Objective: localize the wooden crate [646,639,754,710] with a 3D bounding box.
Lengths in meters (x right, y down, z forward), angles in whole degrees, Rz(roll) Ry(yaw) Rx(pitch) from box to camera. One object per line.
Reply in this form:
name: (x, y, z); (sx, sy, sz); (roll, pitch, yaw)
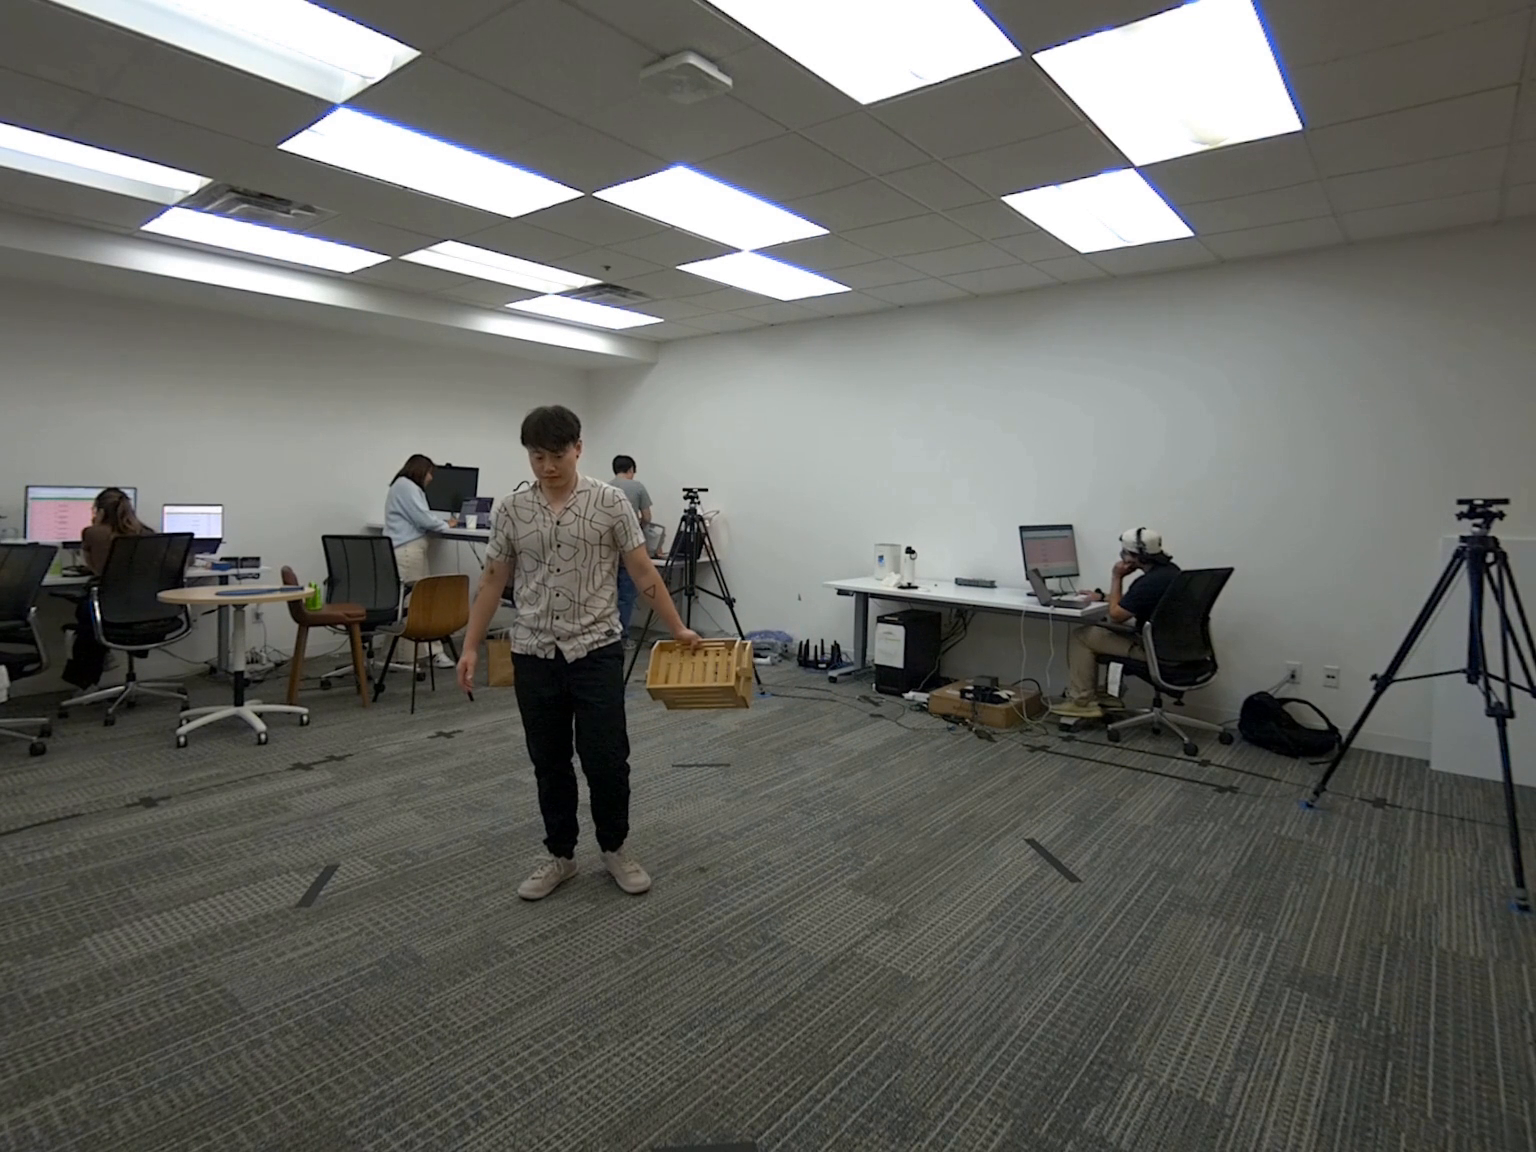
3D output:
wooden crate: (-0.243, 0.319, 2.979); (0.328, 0.309, 0.263); (-4, -38, 11)
